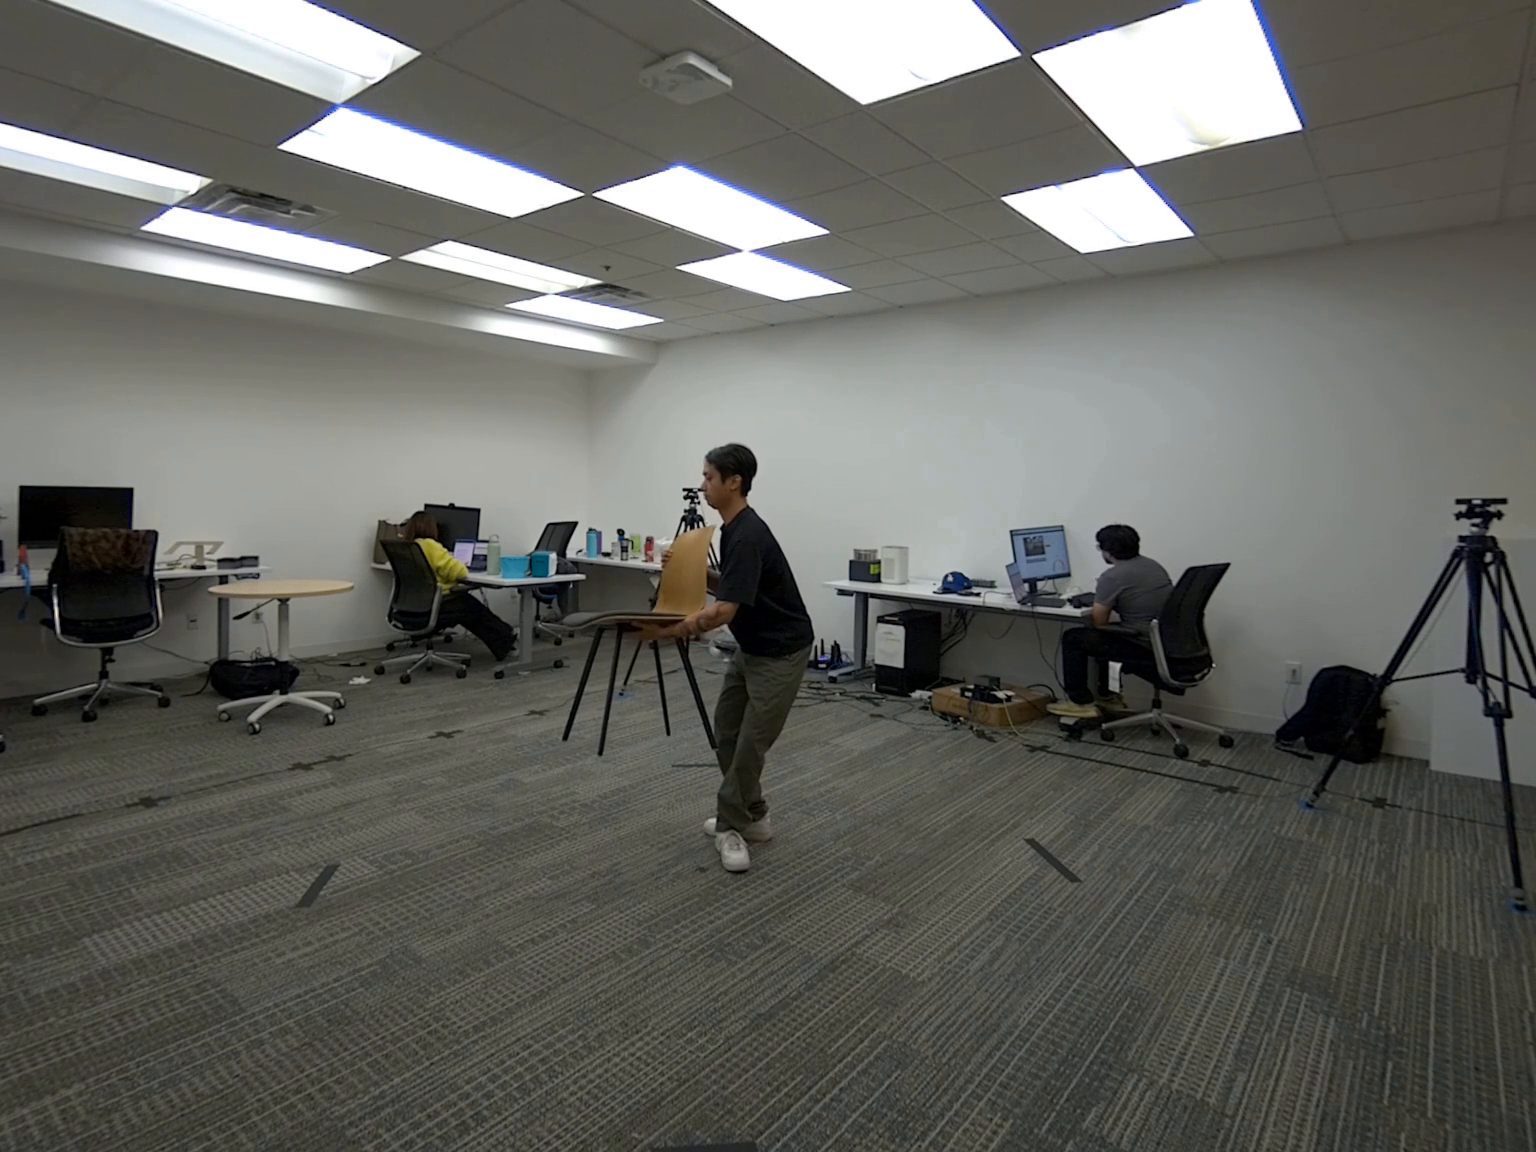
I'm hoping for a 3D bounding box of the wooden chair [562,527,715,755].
[{"bbox_3d":[-0.506,0.213,3.235,0.508,0.884,0.489,8,-8,-28],"label":"wooden chair"}]
